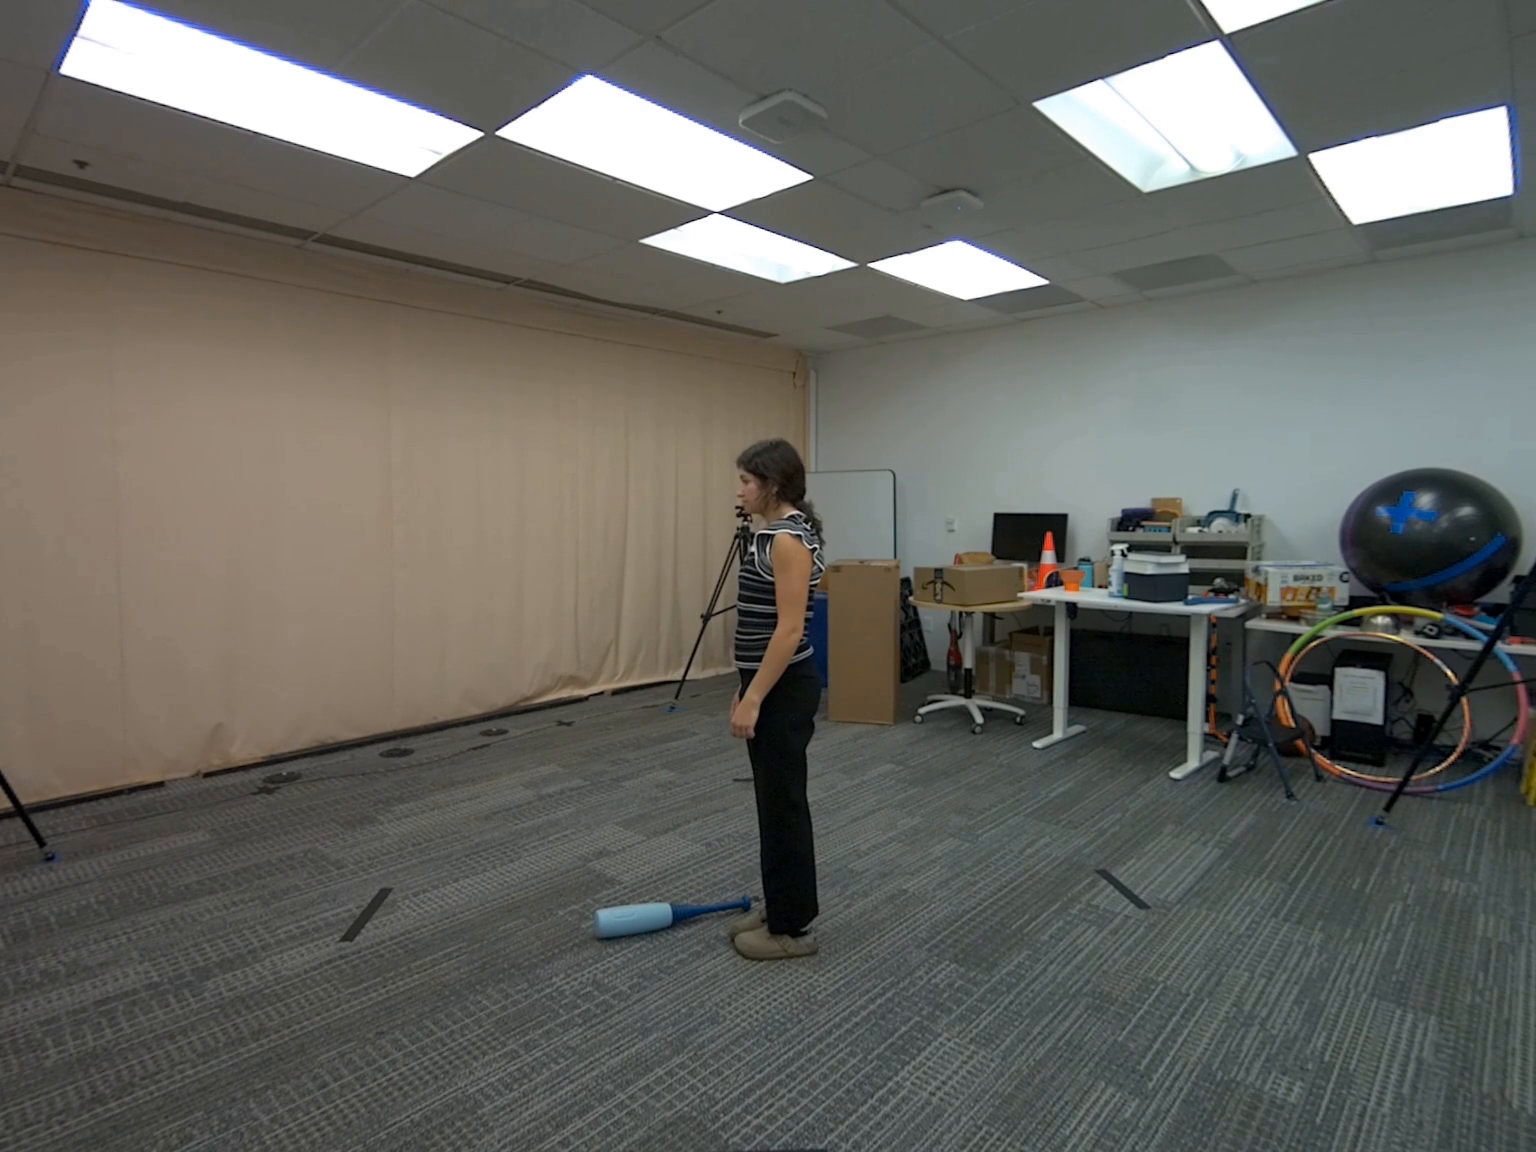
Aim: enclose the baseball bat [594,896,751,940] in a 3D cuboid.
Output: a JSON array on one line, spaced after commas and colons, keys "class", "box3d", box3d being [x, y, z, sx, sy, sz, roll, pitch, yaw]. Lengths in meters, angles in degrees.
[{"class": "baseball bat", "box3d": [-0.311, 1.127, 2.801, 0.531, 0.089, 0.091, 0, 3, -22]}]
